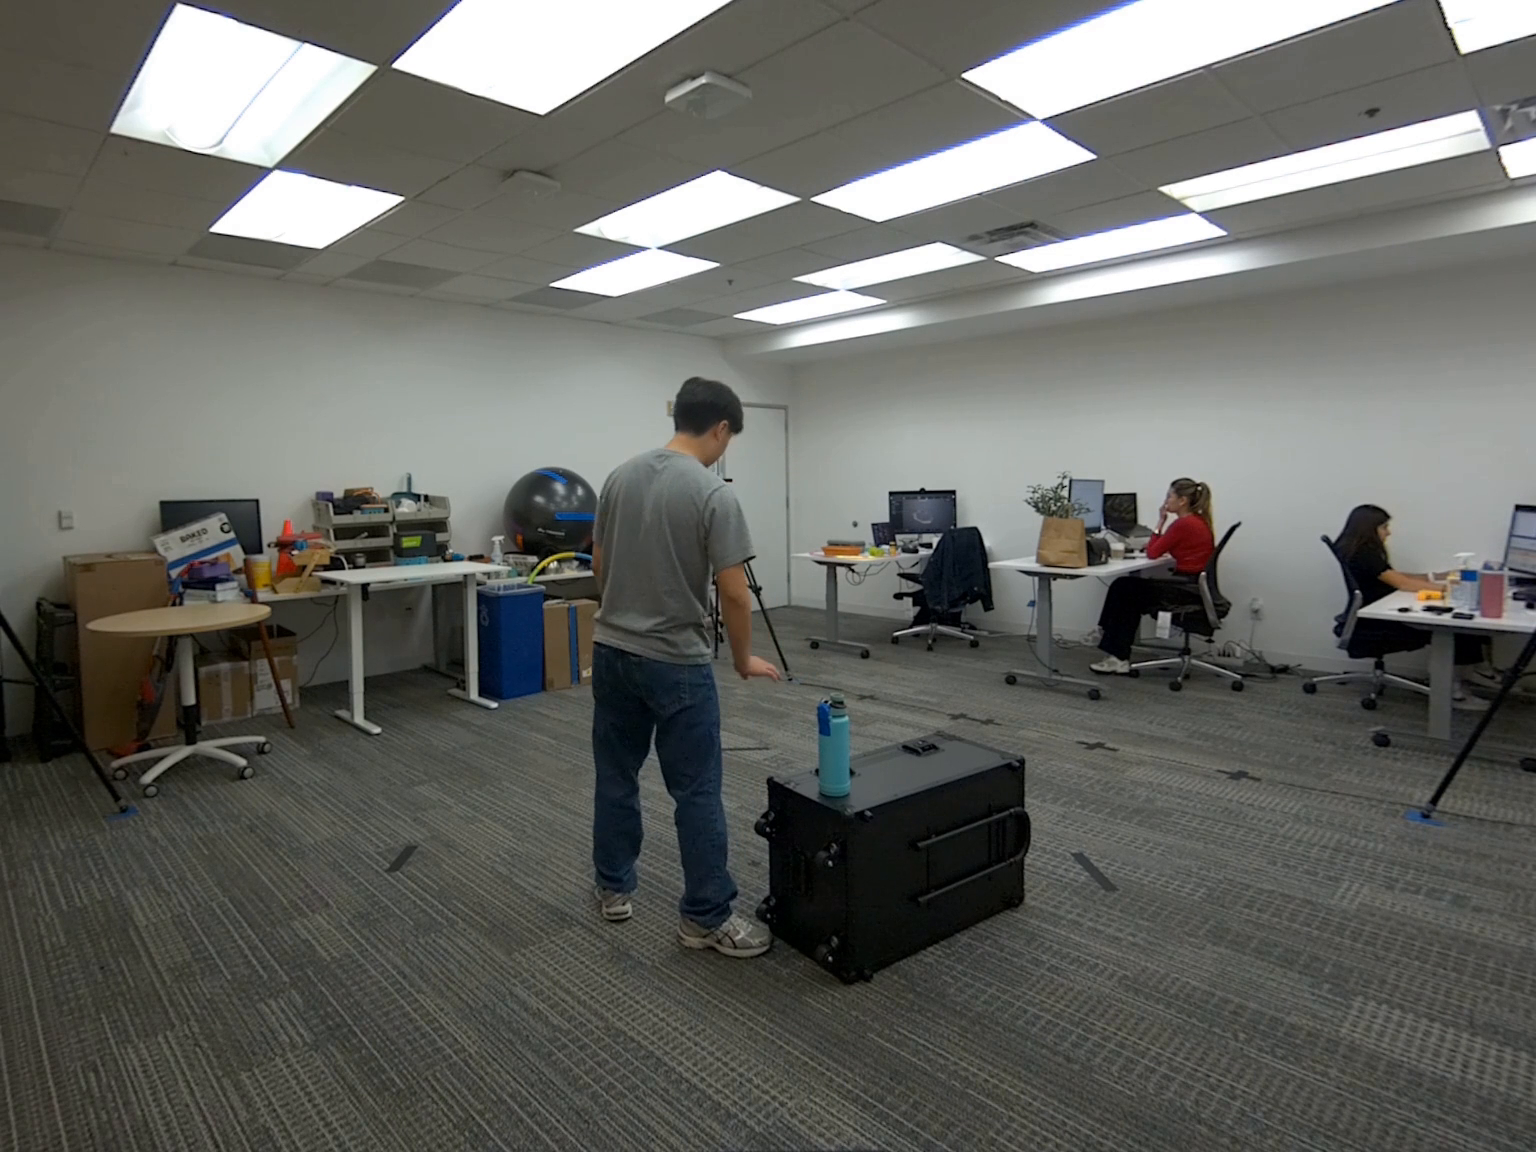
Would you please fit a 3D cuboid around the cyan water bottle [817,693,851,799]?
[{"bbox_3d":[0.180,0.494,2.489,0.092,0.282,0.093,-4,4,-1],"label":"cyan water bottle"}]
